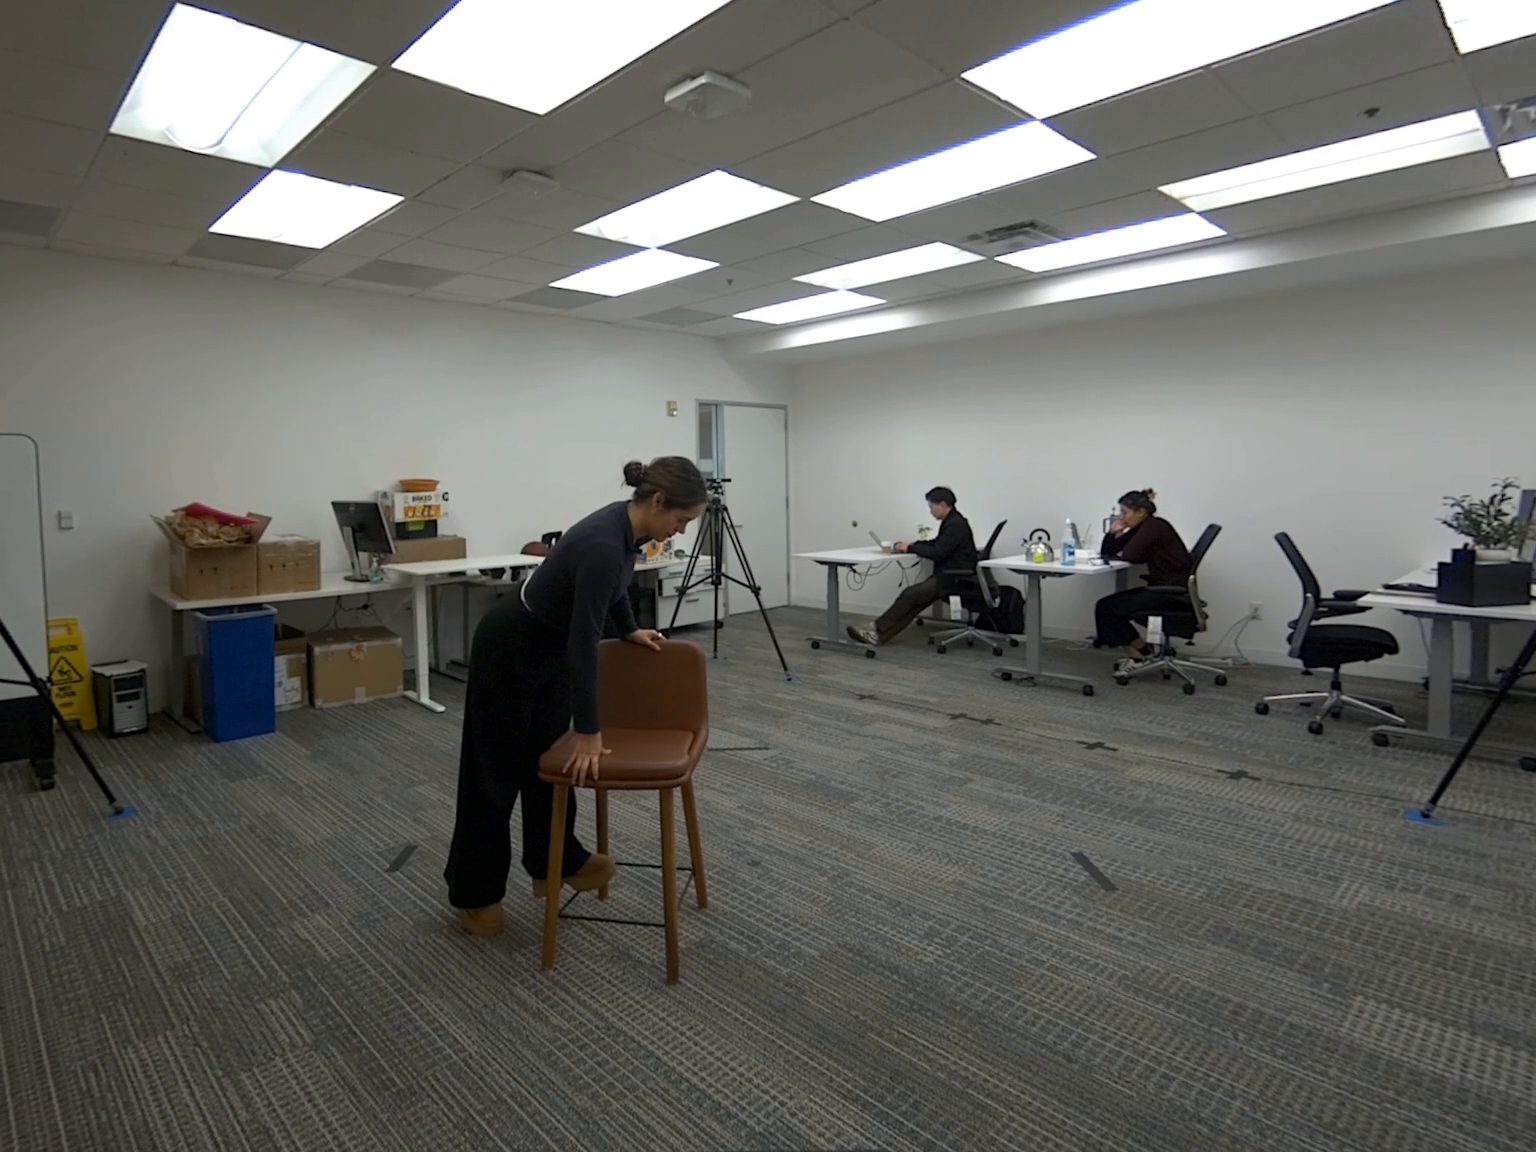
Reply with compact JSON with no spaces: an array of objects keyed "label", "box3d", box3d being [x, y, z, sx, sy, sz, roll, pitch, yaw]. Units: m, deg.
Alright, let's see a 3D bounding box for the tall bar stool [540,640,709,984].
[{"label":"tall bar stool","box3d":[-0.419,0.673,2.606,0.462,0.887,0.463,0,3,11]}]
